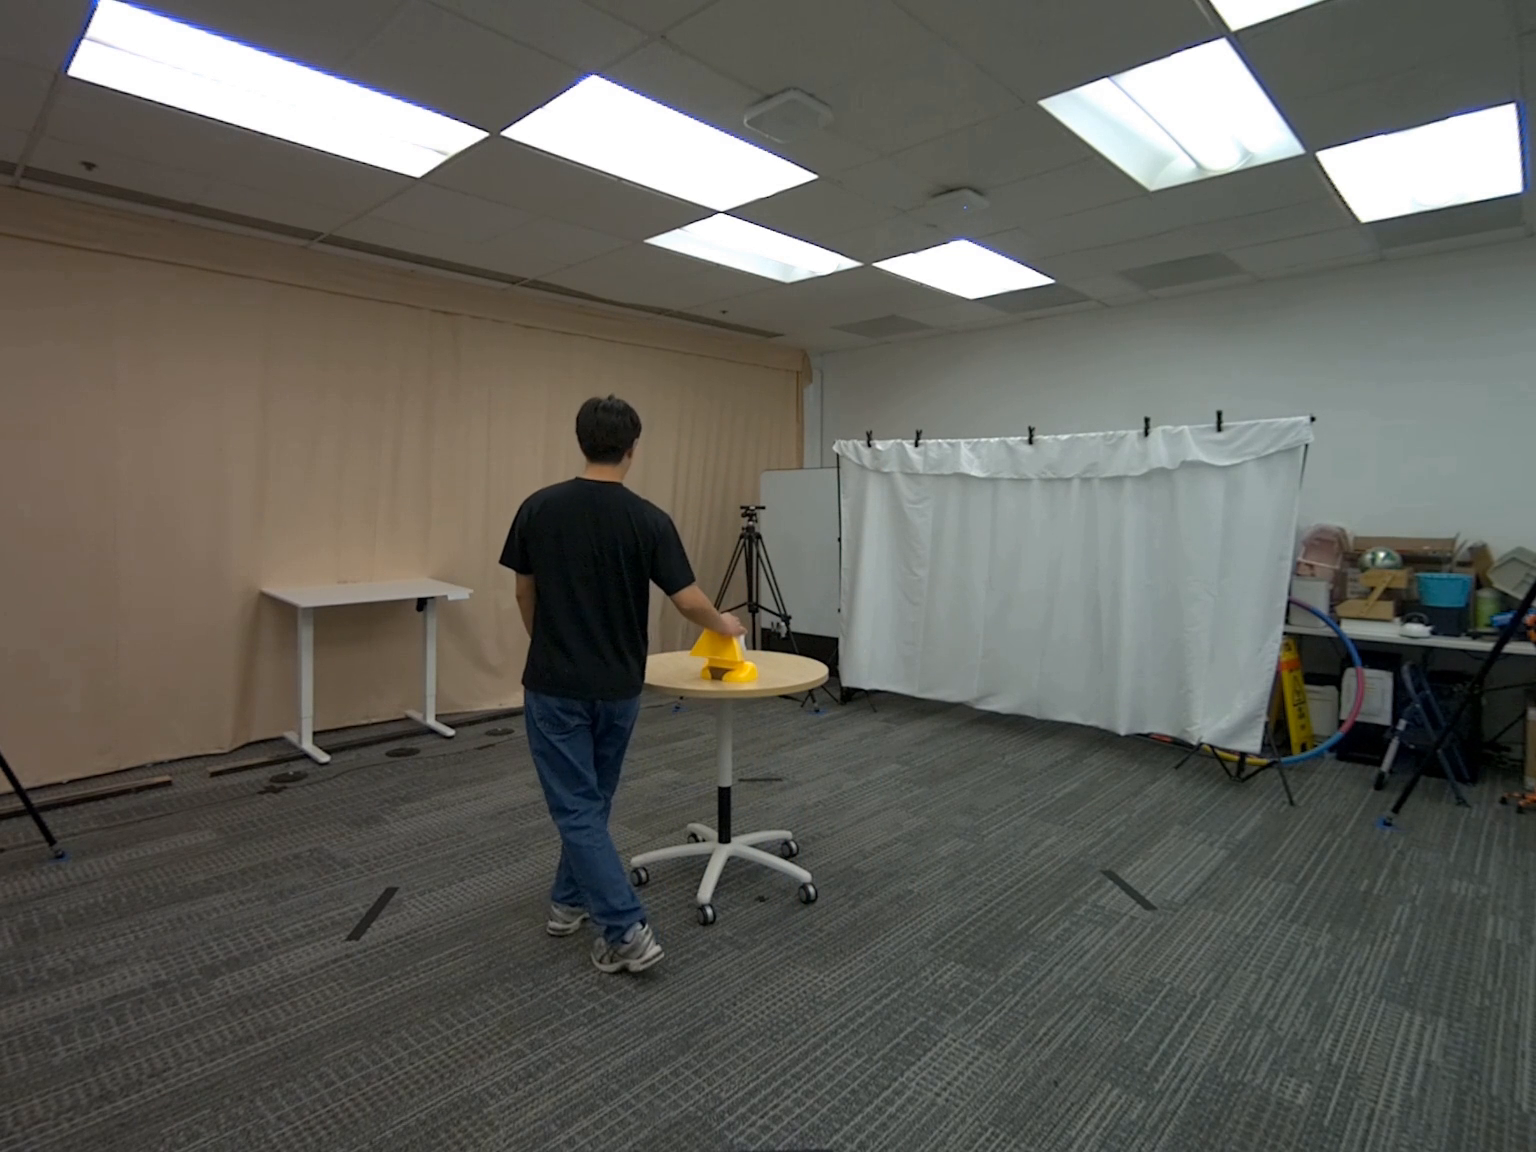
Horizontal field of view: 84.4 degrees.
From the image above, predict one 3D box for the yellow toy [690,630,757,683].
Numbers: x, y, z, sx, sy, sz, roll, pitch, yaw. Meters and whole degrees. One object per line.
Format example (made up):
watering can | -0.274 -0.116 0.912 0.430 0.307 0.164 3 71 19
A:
yellow toy | -0.138 0.239 2.937 0.211 0.230 0.187 2 4 33
